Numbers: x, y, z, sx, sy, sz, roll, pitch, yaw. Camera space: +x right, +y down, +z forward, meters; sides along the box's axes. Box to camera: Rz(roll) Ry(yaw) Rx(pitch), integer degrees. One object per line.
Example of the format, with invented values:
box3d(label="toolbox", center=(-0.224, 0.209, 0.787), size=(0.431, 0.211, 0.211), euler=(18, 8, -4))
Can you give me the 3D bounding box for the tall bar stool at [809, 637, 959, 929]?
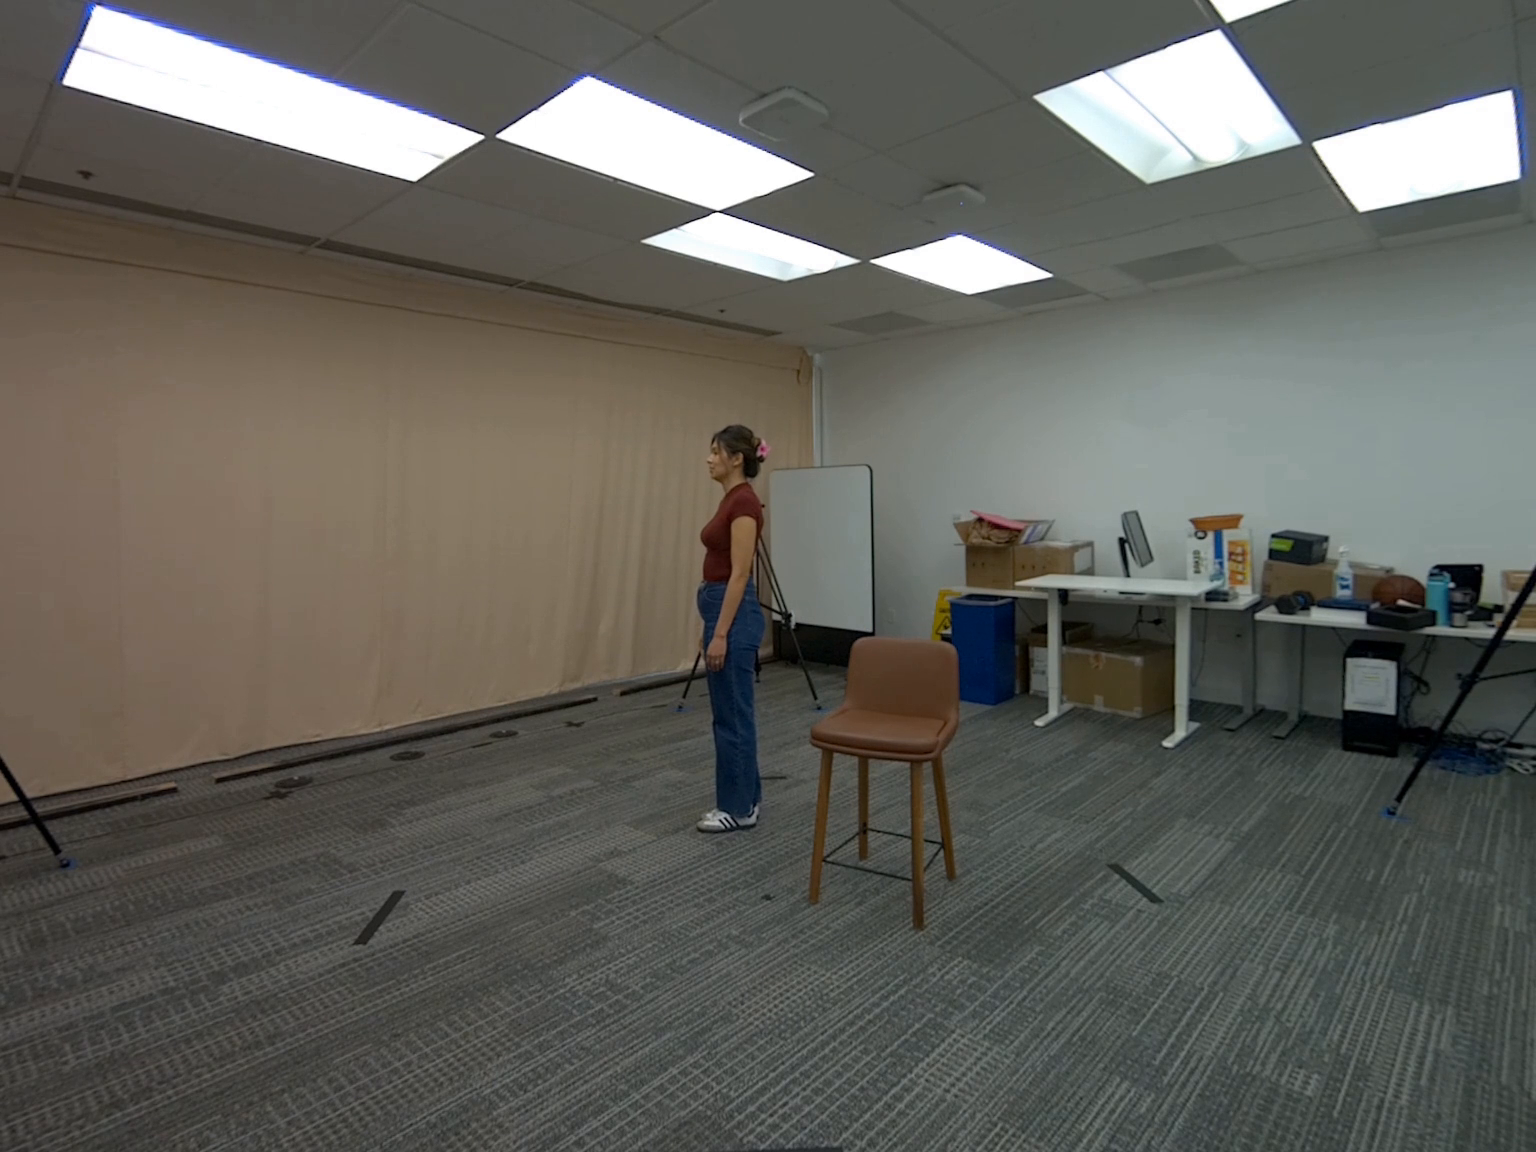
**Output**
box3d(label="tall bar stool", center=(0.428, 0.694, 3.004), size=(0.470, 0.889, 0.454), euler=(2, 2, 31))
